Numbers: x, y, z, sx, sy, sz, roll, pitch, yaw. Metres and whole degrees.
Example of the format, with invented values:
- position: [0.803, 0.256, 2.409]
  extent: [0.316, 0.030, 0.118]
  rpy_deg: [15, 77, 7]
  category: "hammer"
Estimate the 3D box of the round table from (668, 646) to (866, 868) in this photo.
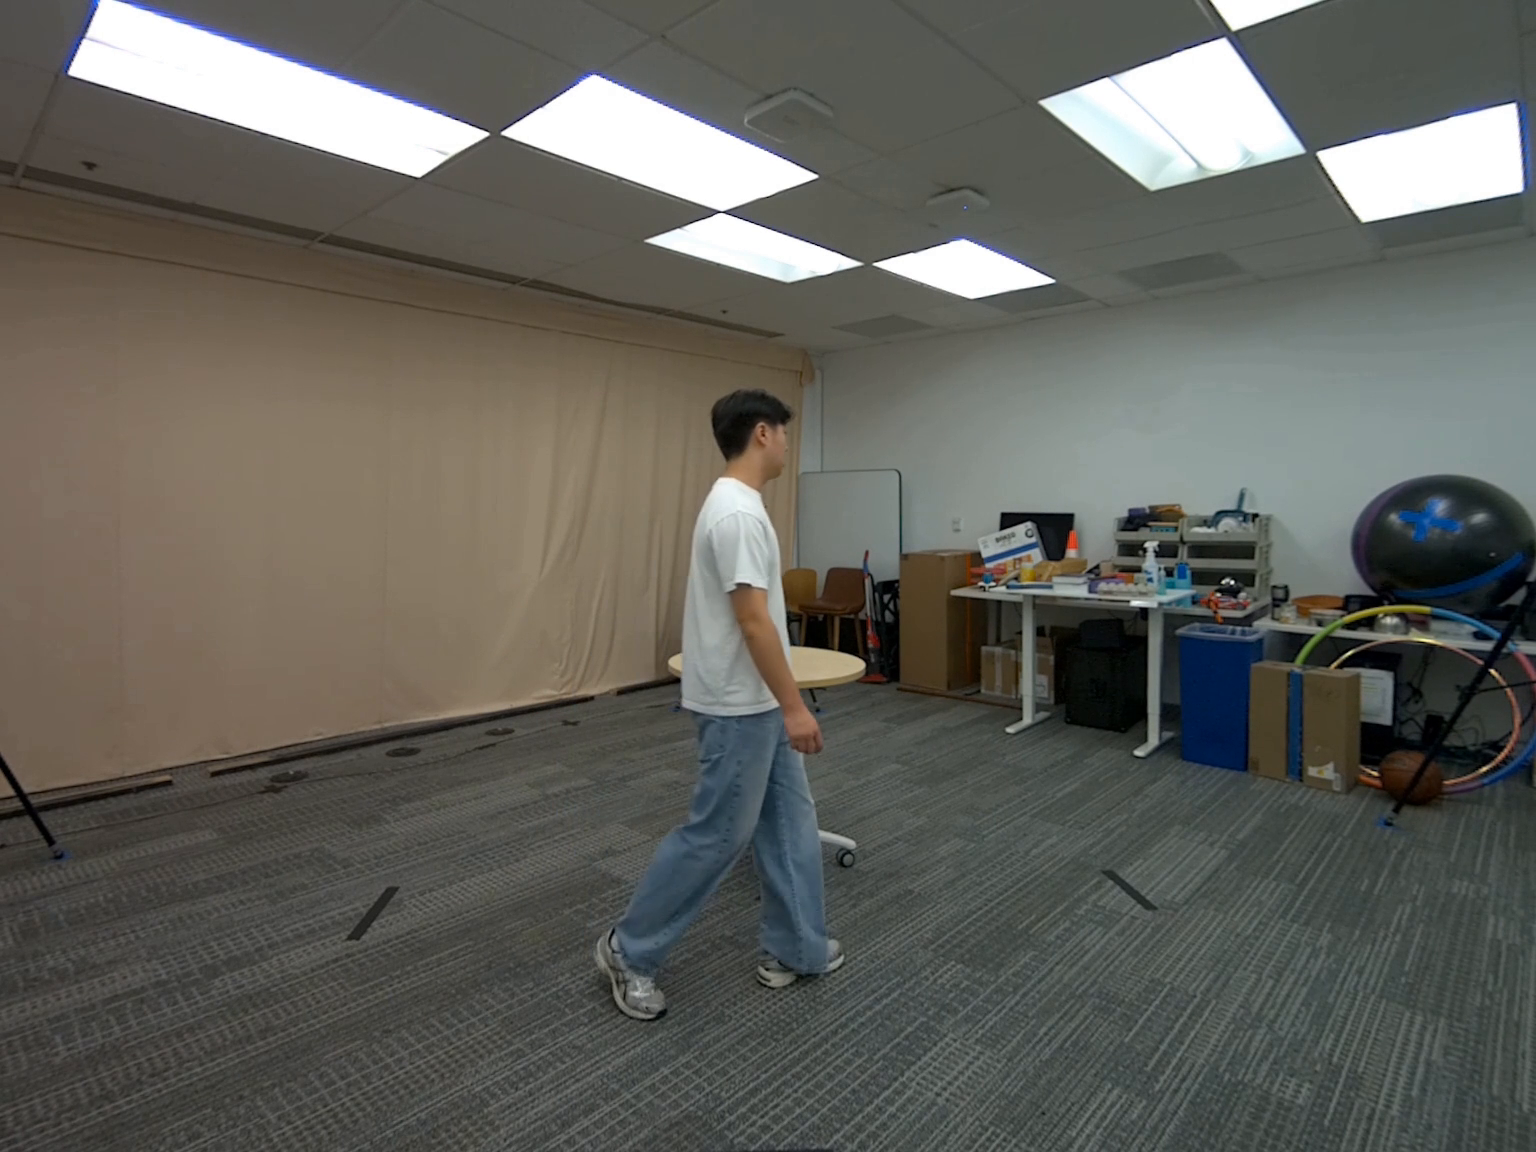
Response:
- position: [-0.002, 0.727, 3.308]
  extent: [0.763, 0.792, 0.767]
  rpy_deg: [0, 4, -2]
  category: "round table"
